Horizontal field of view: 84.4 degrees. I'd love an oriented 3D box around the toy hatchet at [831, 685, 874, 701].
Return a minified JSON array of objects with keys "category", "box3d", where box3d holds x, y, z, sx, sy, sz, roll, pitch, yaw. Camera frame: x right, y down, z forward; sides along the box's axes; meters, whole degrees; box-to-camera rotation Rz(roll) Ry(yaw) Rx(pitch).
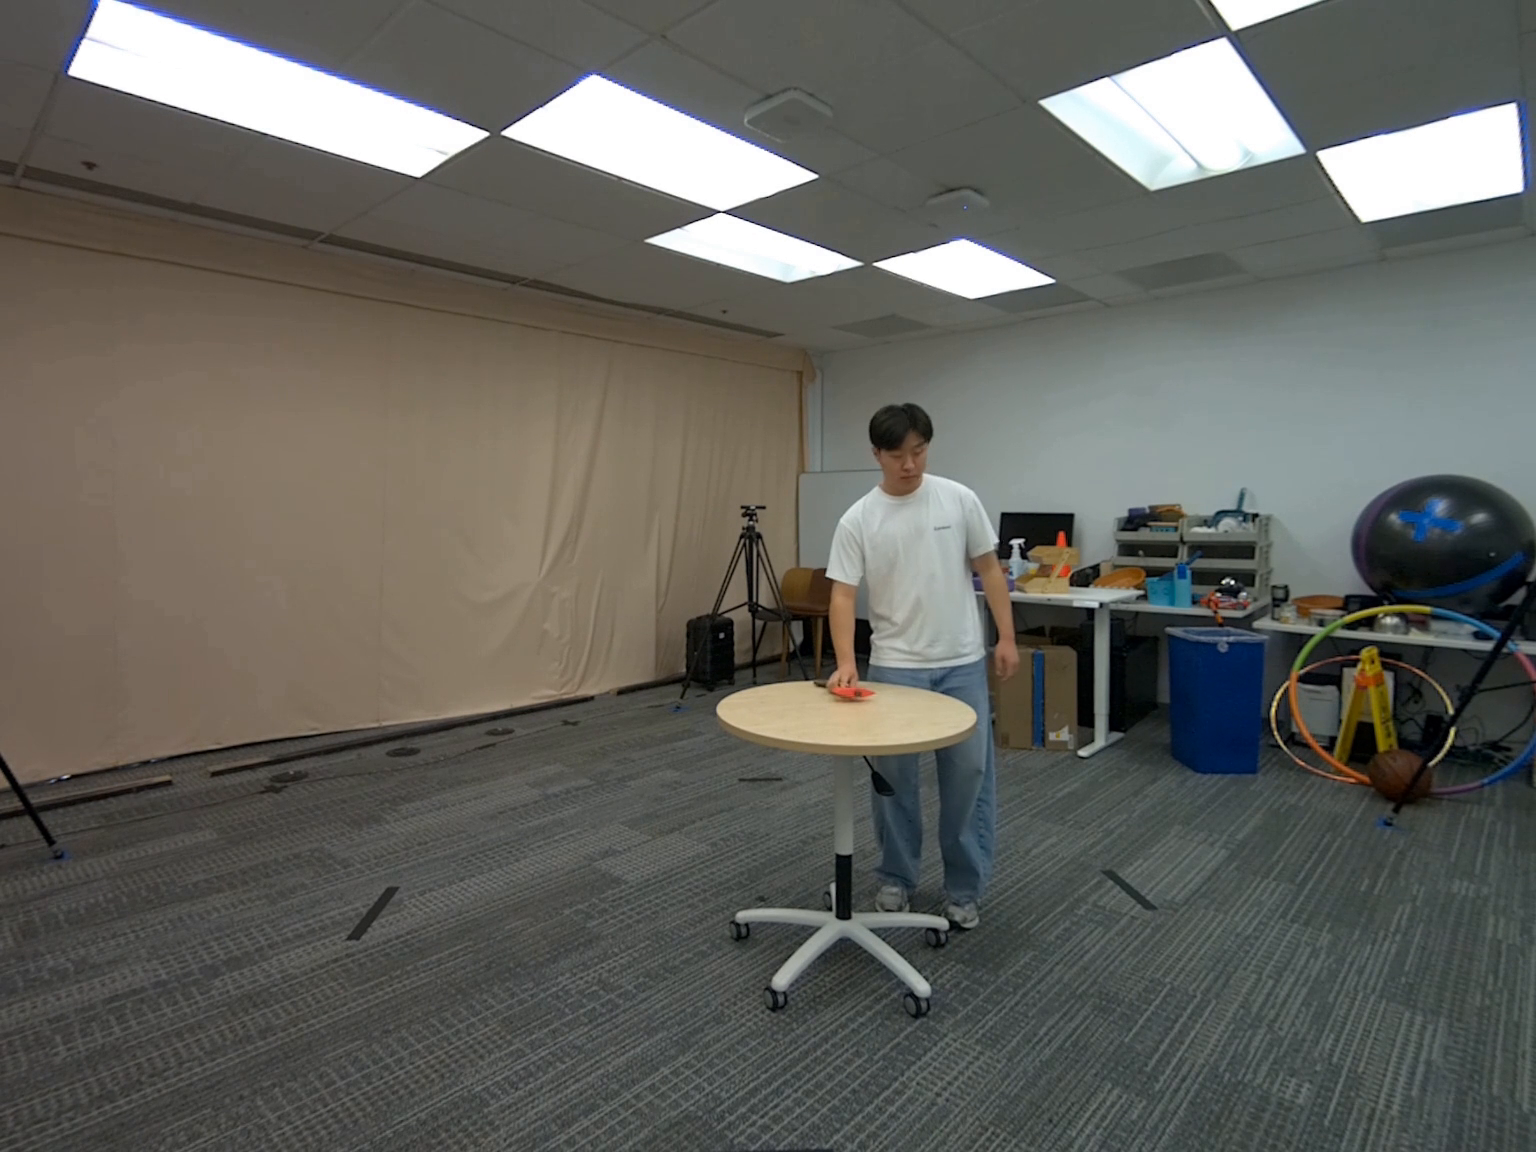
[{"category":"toy hatchet","box3d":[0.221,0.357,2.707,0.127,0.029,0.278,4,0,-32]}]
